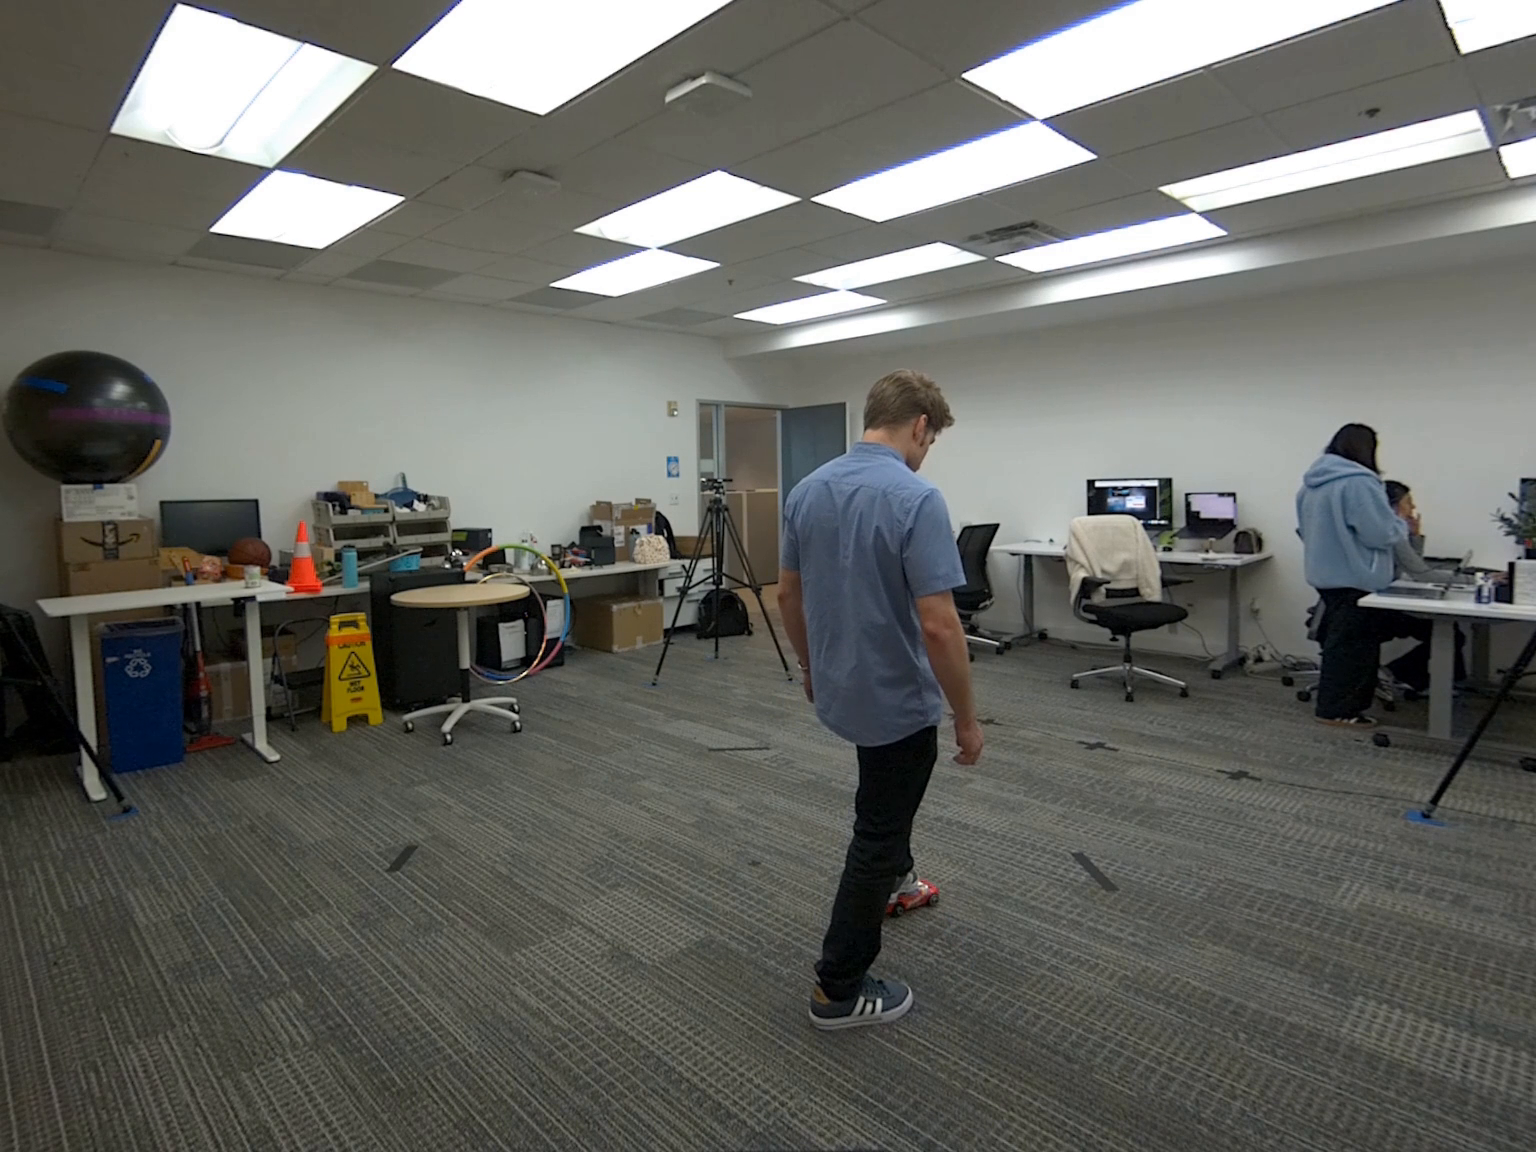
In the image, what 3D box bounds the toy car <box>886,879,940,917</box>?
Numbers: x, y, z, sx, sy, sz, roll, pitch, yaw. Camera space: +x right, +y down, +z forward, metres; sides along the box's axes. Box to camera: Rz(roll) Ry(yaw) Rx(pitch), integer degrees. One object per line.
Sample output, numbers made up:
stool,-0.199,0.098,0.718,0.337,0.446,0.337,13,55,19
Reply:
toy car,0.437,1.045,2.774,0.248,0.083,0.134,8,2,-28
